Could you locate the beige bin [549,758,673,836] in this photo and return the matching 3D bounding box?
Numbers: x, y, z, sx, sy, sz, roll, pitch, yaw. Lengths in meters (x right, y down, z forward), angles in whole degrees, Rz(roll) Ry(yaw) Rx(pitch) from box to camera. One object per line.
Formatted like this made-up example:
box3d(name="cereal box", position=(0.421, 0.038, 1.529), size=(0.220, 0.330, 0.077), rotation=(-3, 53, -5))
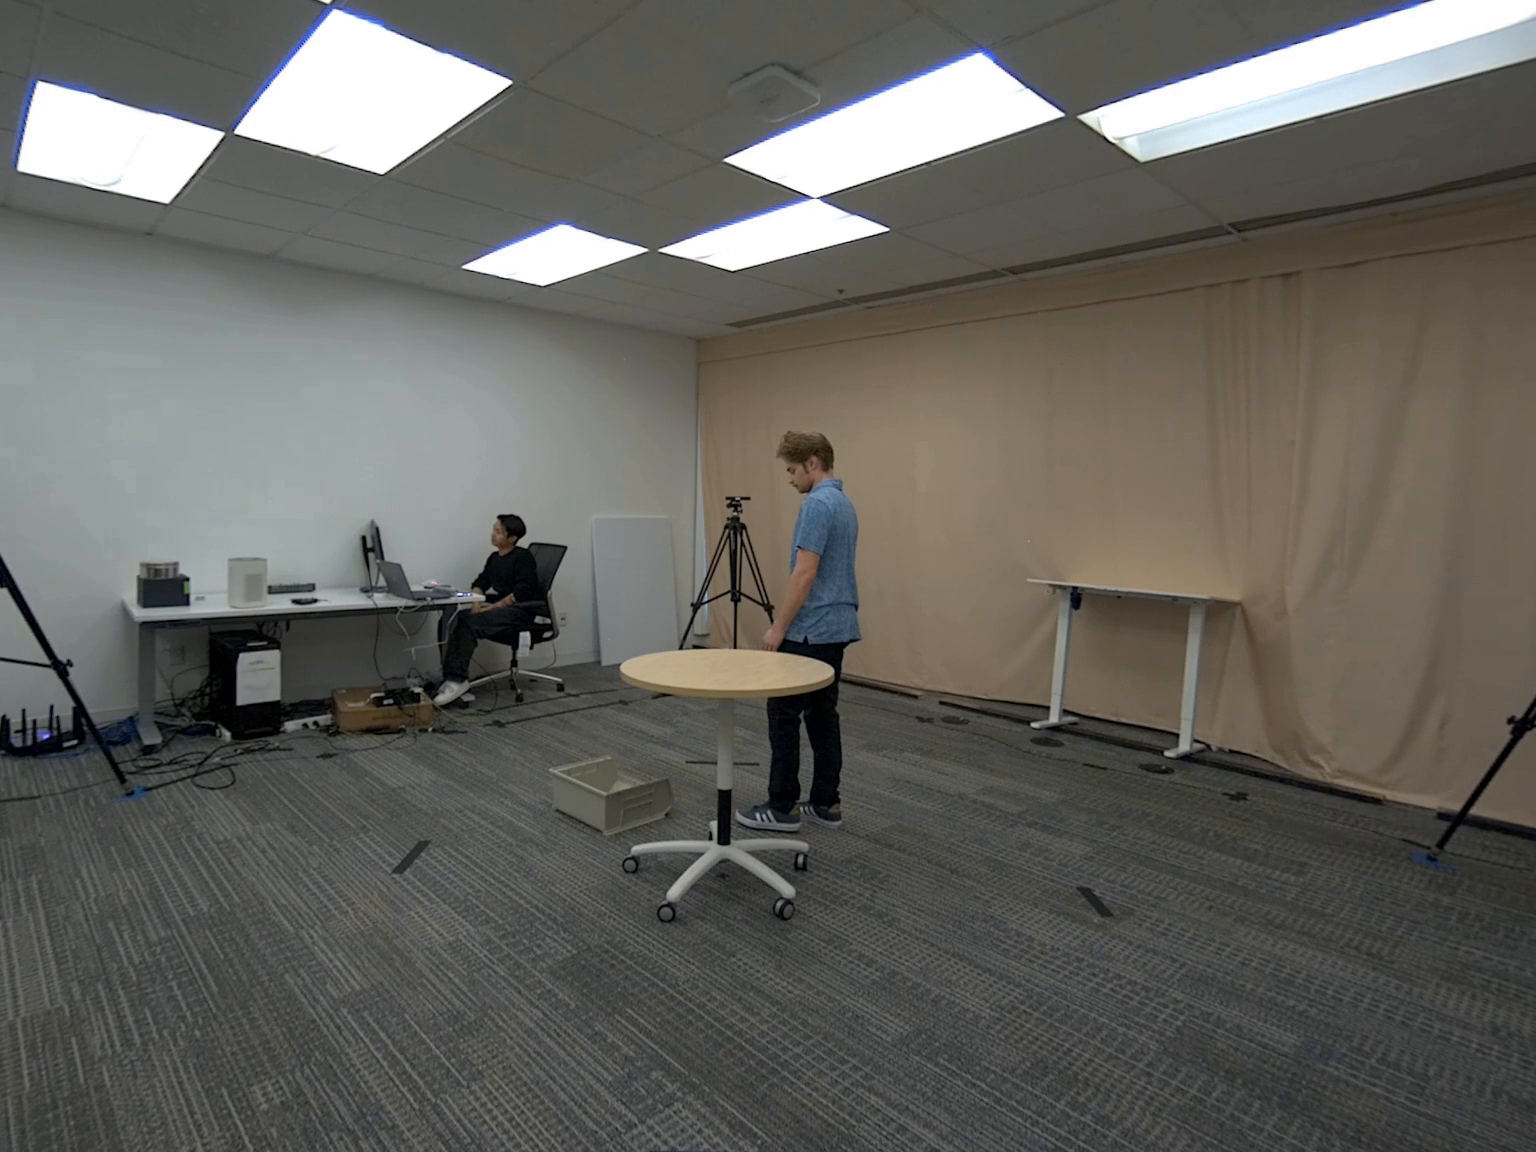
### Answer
box3d(name="beige bin", position=(-0.696, 0.955, 3.704), size=(0.433, 0.188, 0.369), rotation=(6, 7, 43))
